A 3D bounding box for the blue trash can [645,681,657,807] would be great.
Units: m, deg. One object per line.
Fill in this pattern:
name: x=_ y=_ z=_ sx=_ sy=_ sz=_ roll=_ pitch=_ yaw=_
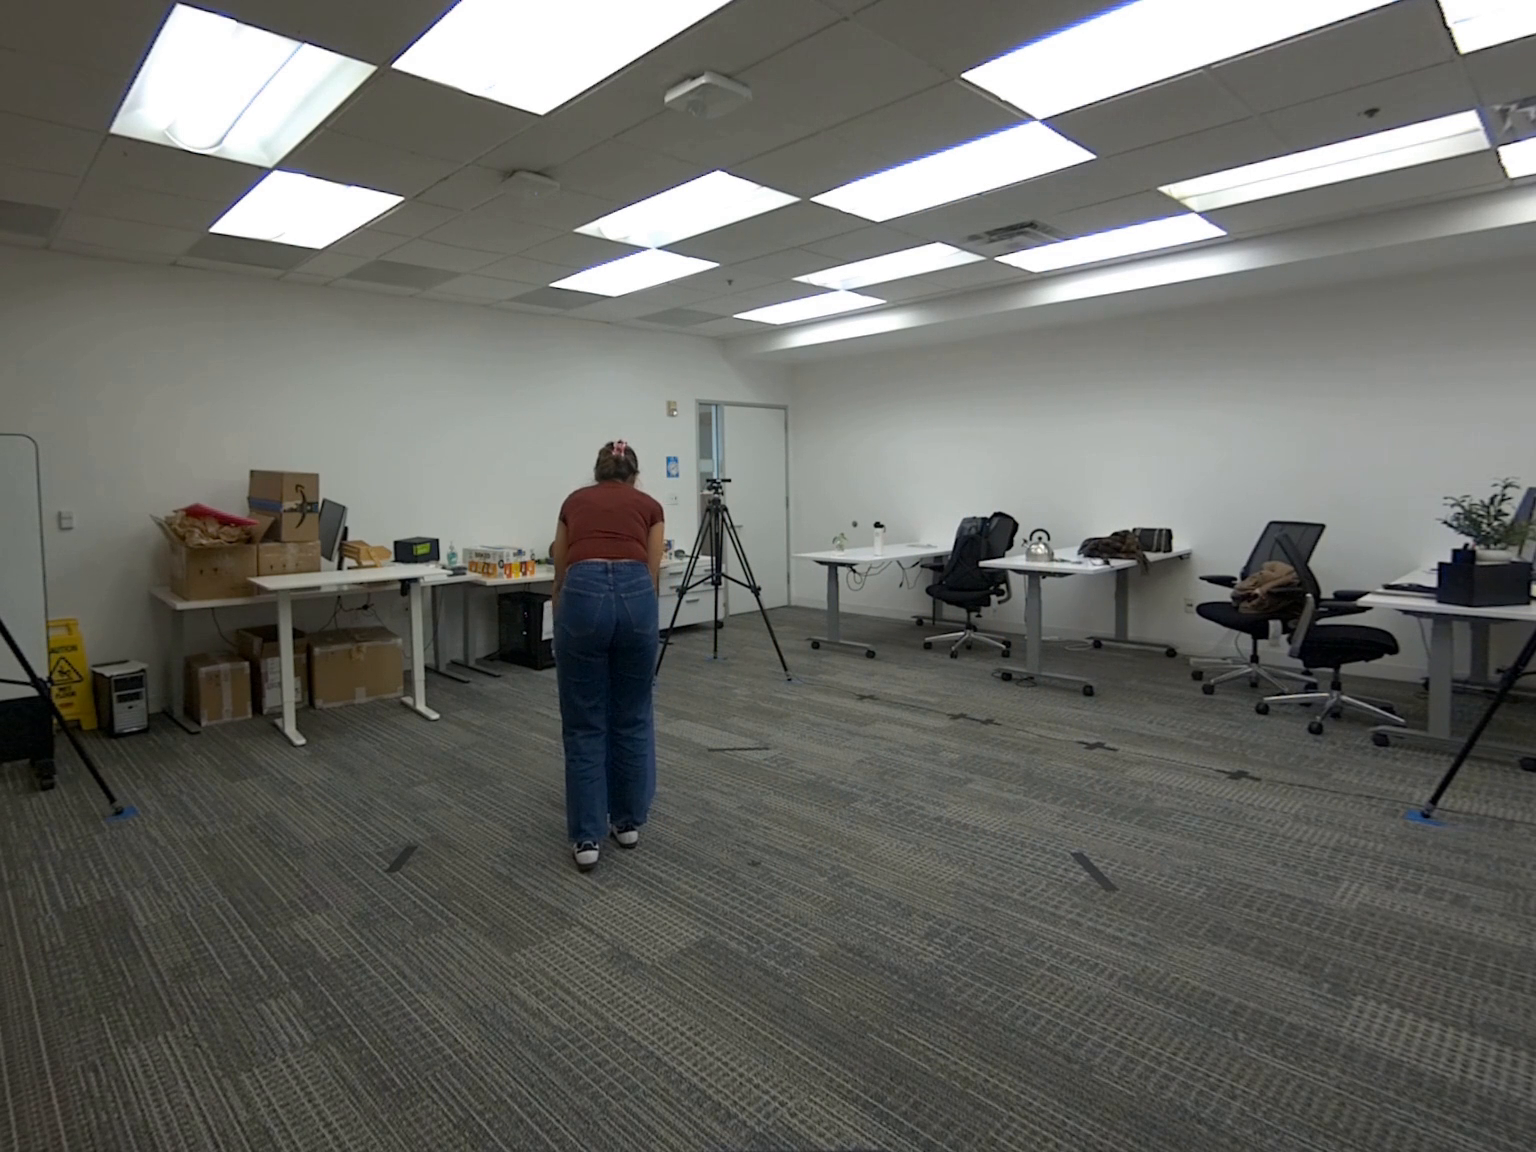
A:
blue trash can: x=-0.682 y=0.632 z=3.696 sx=0.379 sy=0.710 sz=0.375 roll=-3 pitch=5 yaw=3
